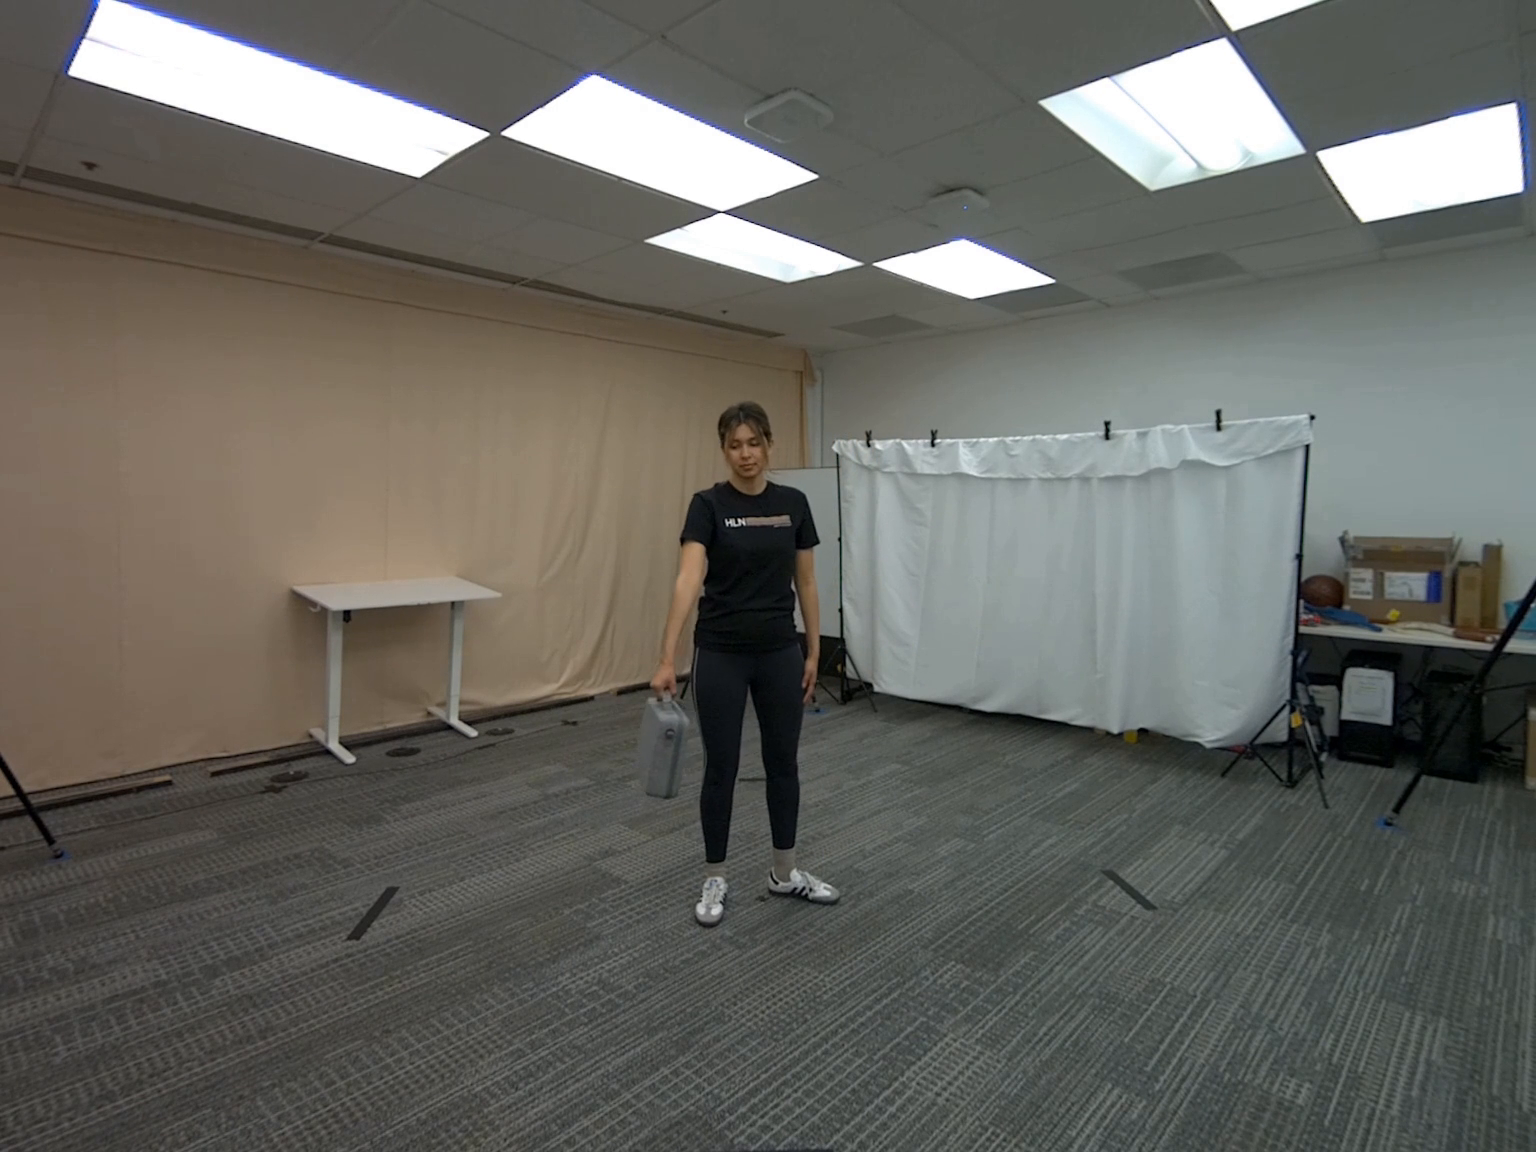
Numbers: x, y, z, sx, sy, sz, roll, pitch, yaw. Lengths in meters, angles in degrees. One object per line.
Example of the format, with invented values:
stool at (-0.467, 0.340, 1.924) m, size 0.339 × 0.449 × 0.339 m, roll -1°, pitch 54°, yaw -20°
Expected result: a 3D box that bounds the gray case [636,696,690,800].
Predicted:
gray case at (-0.322, 0.523, 2.595) m, size 0.102 × 0.260 × 0.262 m, roll 9°, pitch 3°, yaw -17°
